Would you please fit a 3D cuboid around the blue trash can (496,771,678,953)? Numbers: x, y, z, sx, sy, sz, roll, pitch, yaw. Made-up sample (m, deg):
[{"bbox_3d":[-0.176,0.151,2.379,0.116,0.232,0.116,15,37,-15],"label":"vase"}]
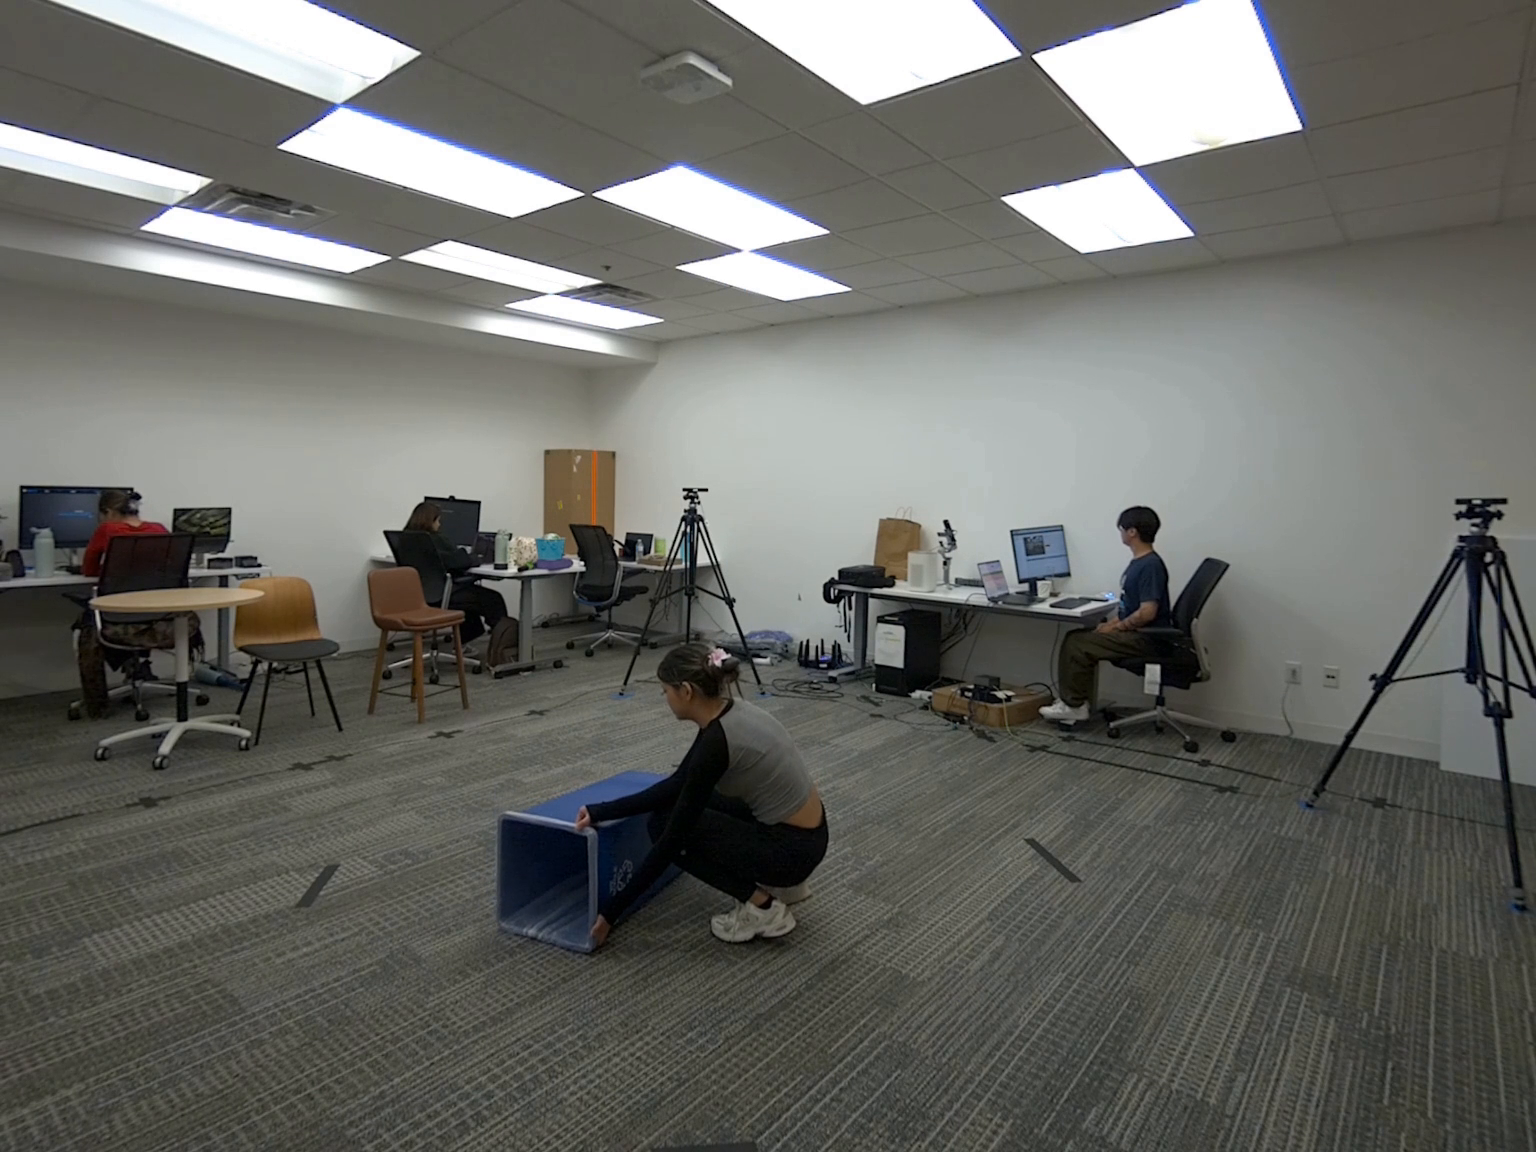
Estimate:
[{"bbox_3d":[-0.559,0.909,2.905,0.383,0.378,0.697,0,2,25],"label":"blue trash can"}]
